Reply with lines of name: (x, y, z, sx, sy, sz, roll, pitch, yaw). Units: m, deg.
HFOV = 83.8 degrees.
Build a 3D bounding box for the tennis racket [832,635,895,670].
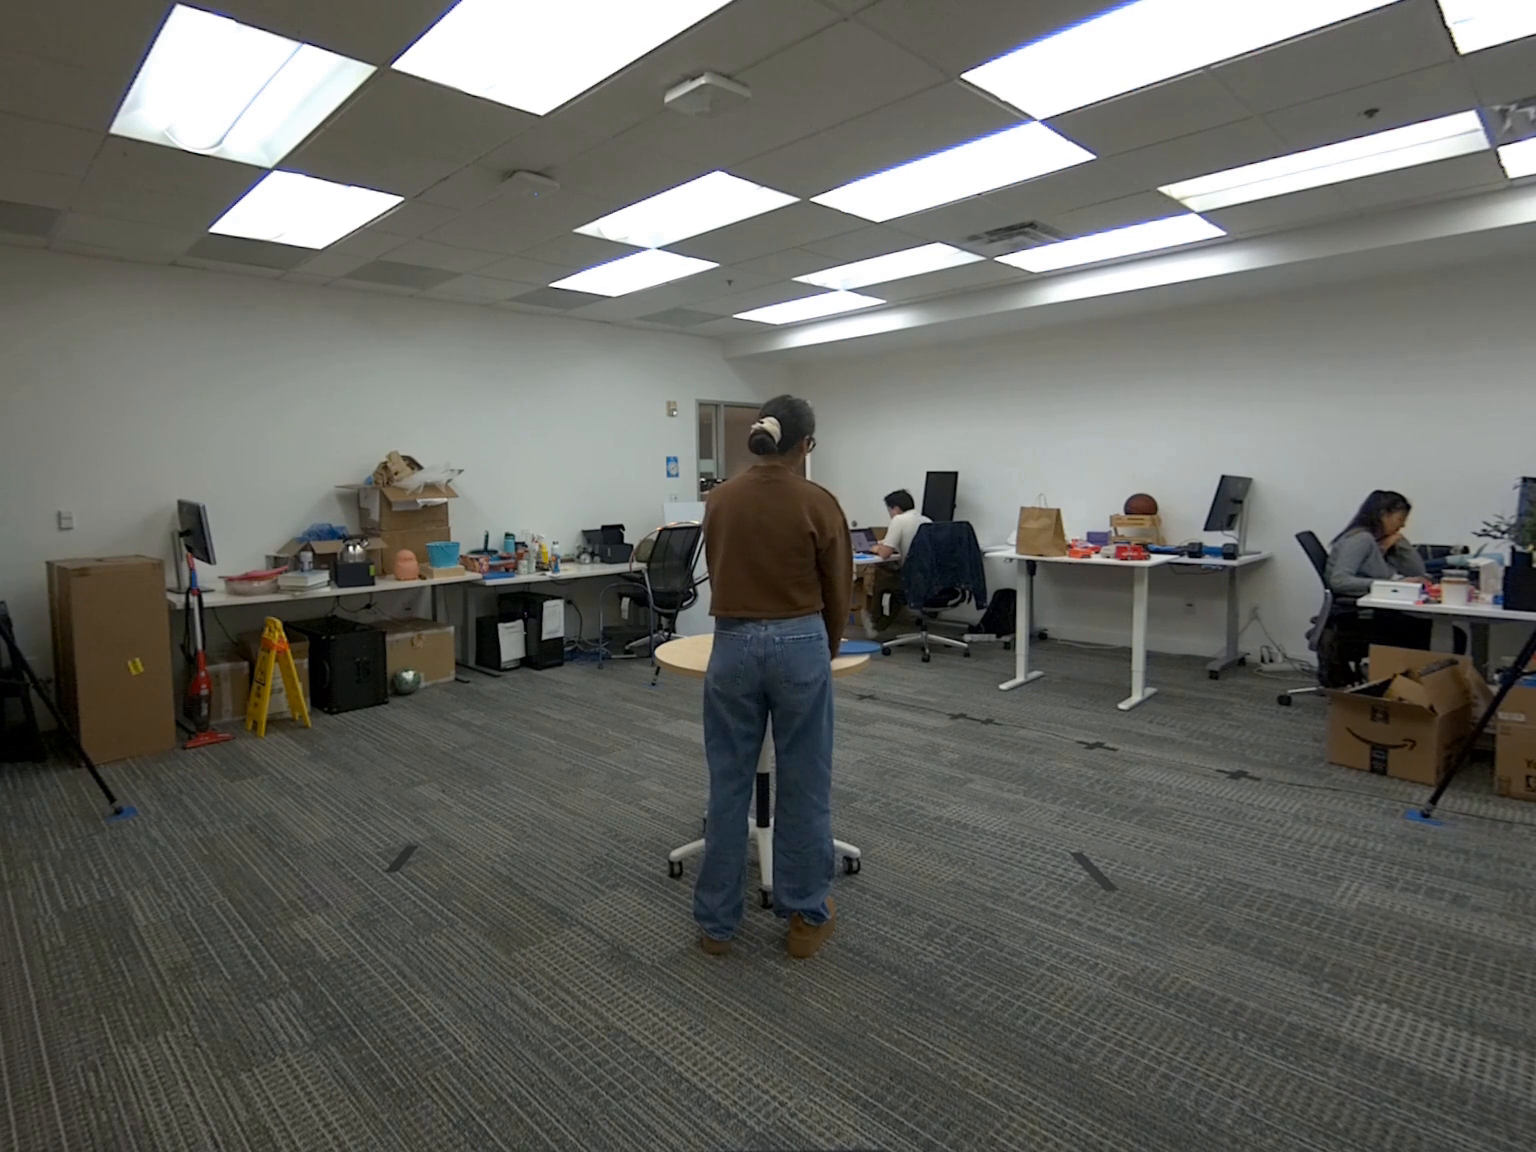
tennis racket: (0.268, 0.262, 2.996, 0.219, 0.031, 0.423, 3, 6, 28)
